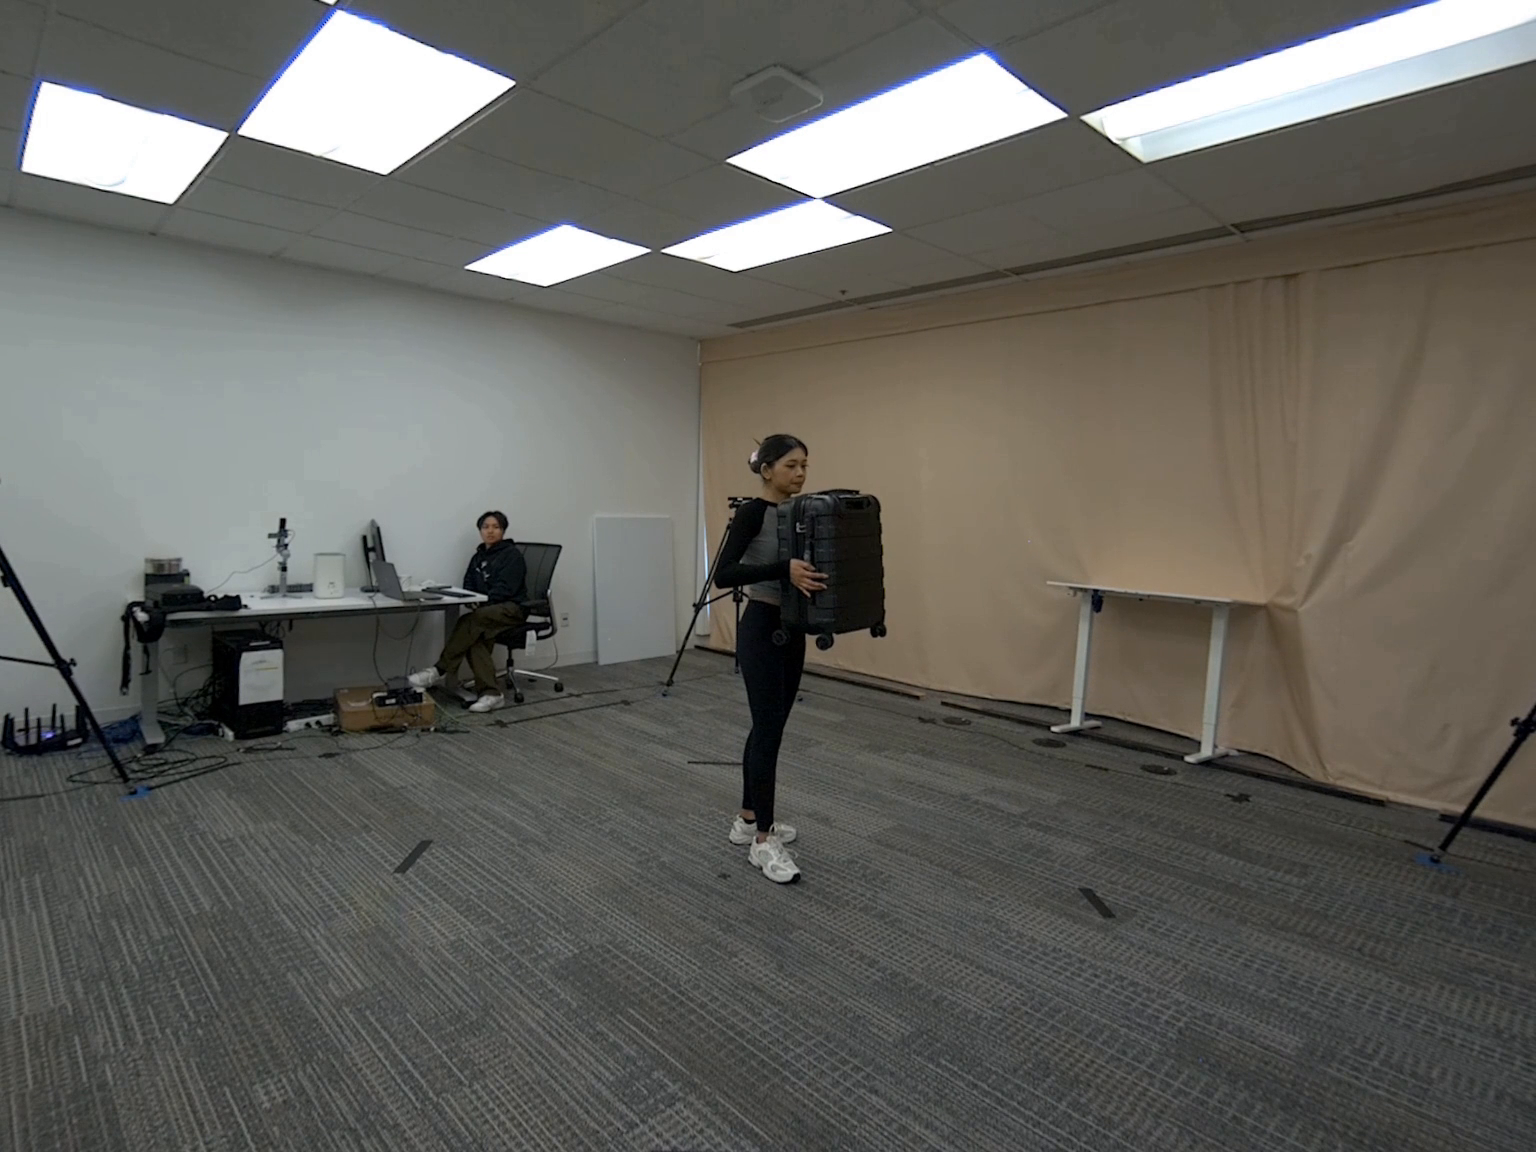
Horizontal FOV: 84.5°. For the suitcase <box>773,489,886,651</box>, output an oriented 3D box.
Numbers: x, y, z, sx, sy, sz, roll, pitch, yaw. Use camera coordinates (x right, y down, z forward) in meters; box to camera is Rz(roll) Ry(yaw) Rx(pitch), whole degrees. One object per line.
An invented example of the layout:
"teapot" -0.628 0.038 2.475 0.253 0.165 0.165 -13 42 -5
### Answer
"suitcase" 0.231 -0.038 3.067 0.254 0.548 0.367 1 5 43
